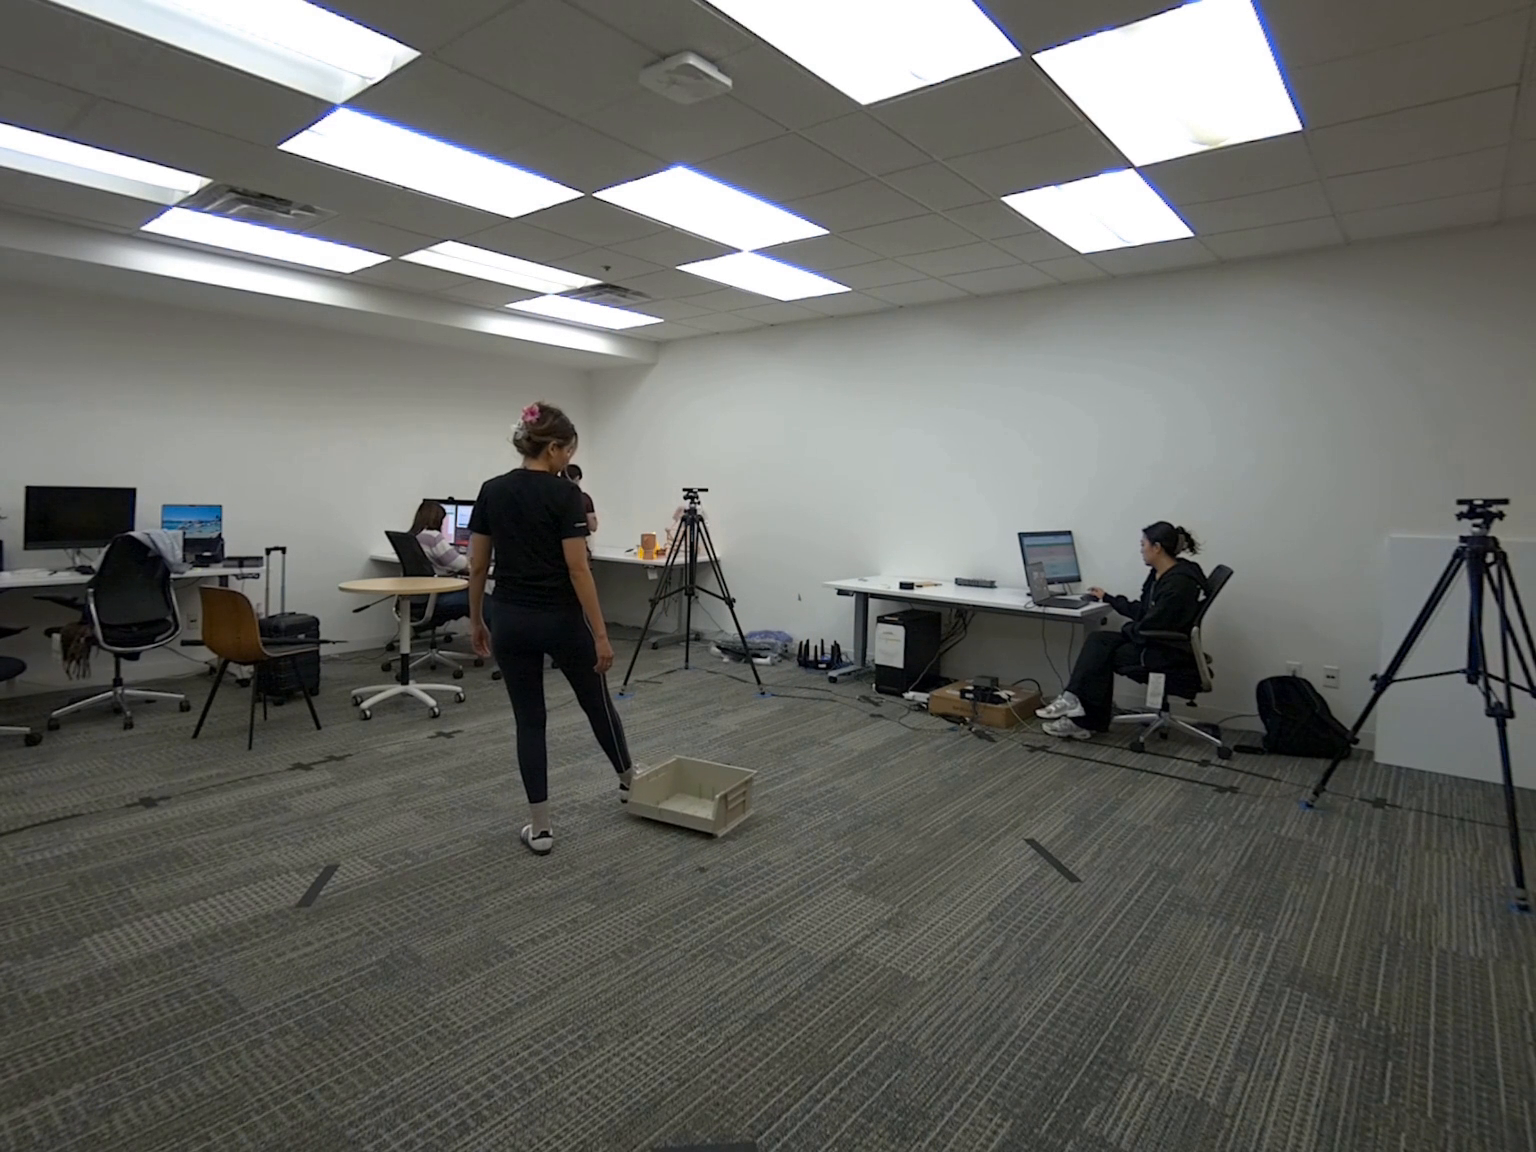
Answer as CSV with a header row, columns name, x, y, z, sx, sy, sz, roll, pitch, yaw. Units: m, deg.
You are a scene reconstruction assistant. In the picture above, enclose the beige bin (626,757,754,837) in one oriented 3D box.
name,x,y,z,sx,sy,sz,roll,pitch,yaw
beige bin,-0.331,0.930,3.610,0.434,0.188,0.368,3,5,28
